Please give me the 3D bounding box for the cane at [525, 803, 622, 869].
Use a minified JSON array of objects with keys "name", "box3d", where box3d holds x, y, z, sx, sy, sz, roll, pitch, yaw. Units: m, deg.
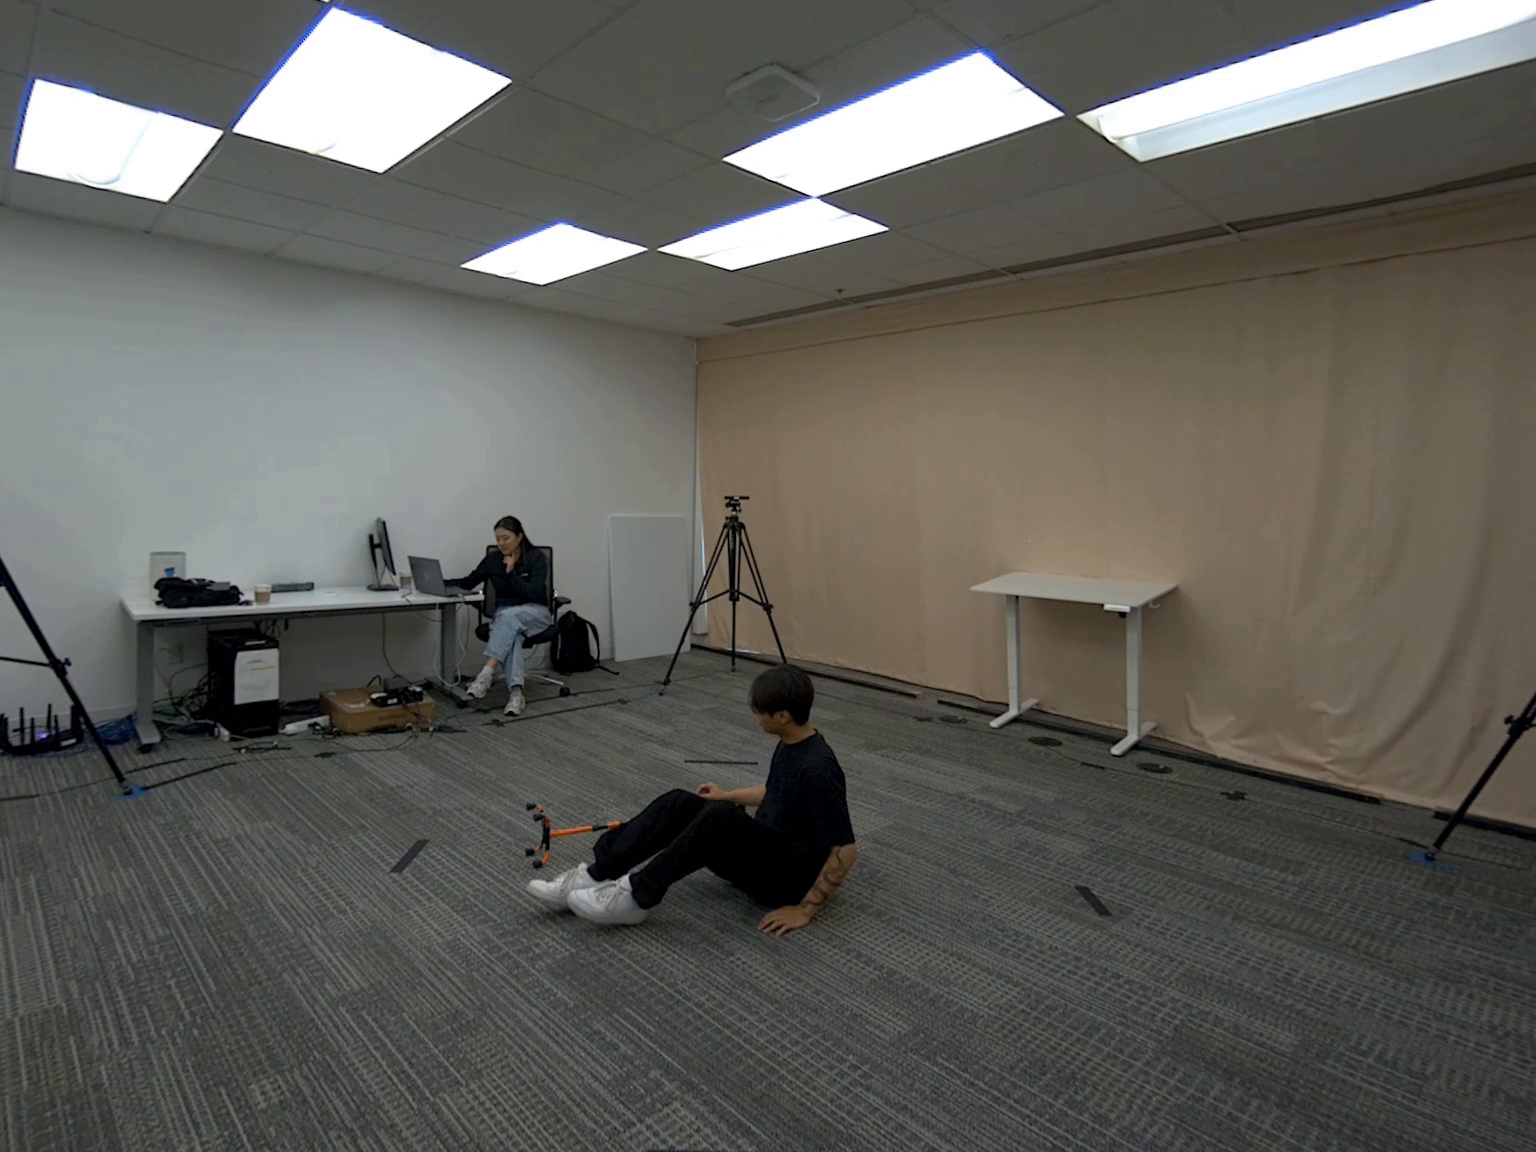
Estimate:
[{"name":"cane","box3d":[-0.511,0.958,3.380,0.890,0.206,0.155,-1,3,-29]}]
